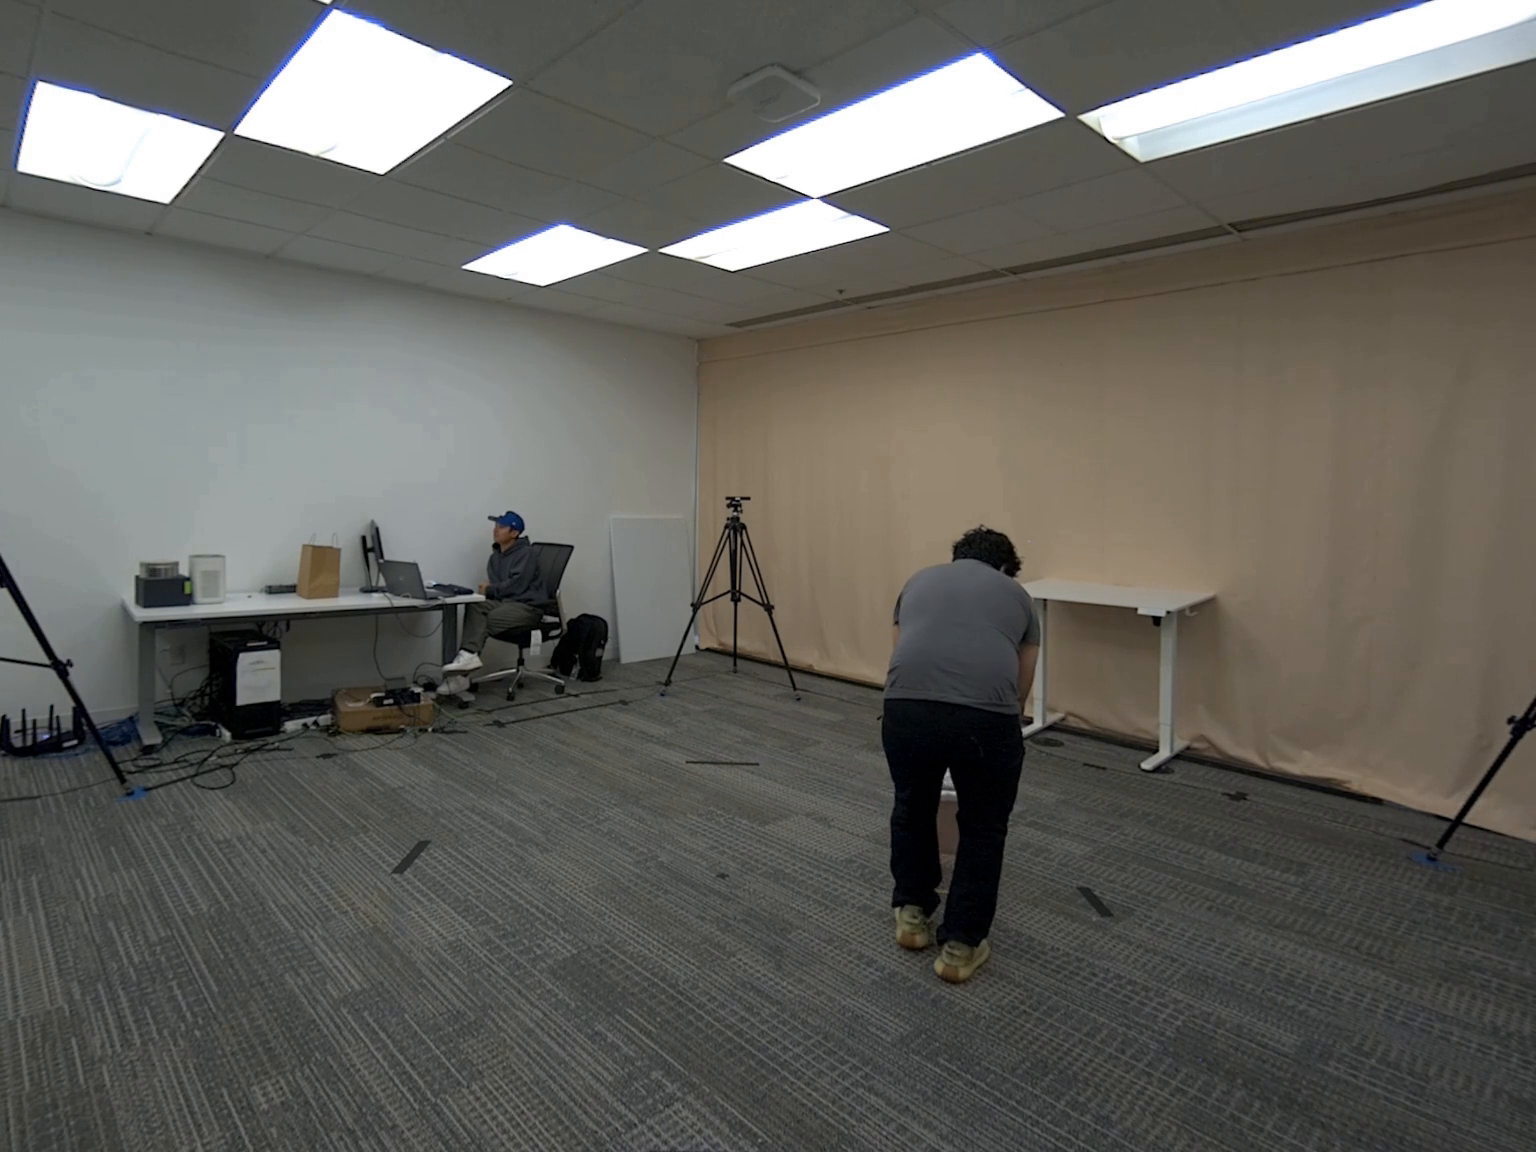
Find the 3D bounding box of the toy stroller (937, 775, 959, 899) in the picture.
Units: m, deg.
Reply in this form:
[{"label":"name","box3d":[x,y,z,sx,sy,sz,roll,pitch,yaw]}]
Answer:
[{"label":"toy stroller","box3d":[0.626,0.908,3.028,0.284,0.529,0.342,3,17,9]}]
